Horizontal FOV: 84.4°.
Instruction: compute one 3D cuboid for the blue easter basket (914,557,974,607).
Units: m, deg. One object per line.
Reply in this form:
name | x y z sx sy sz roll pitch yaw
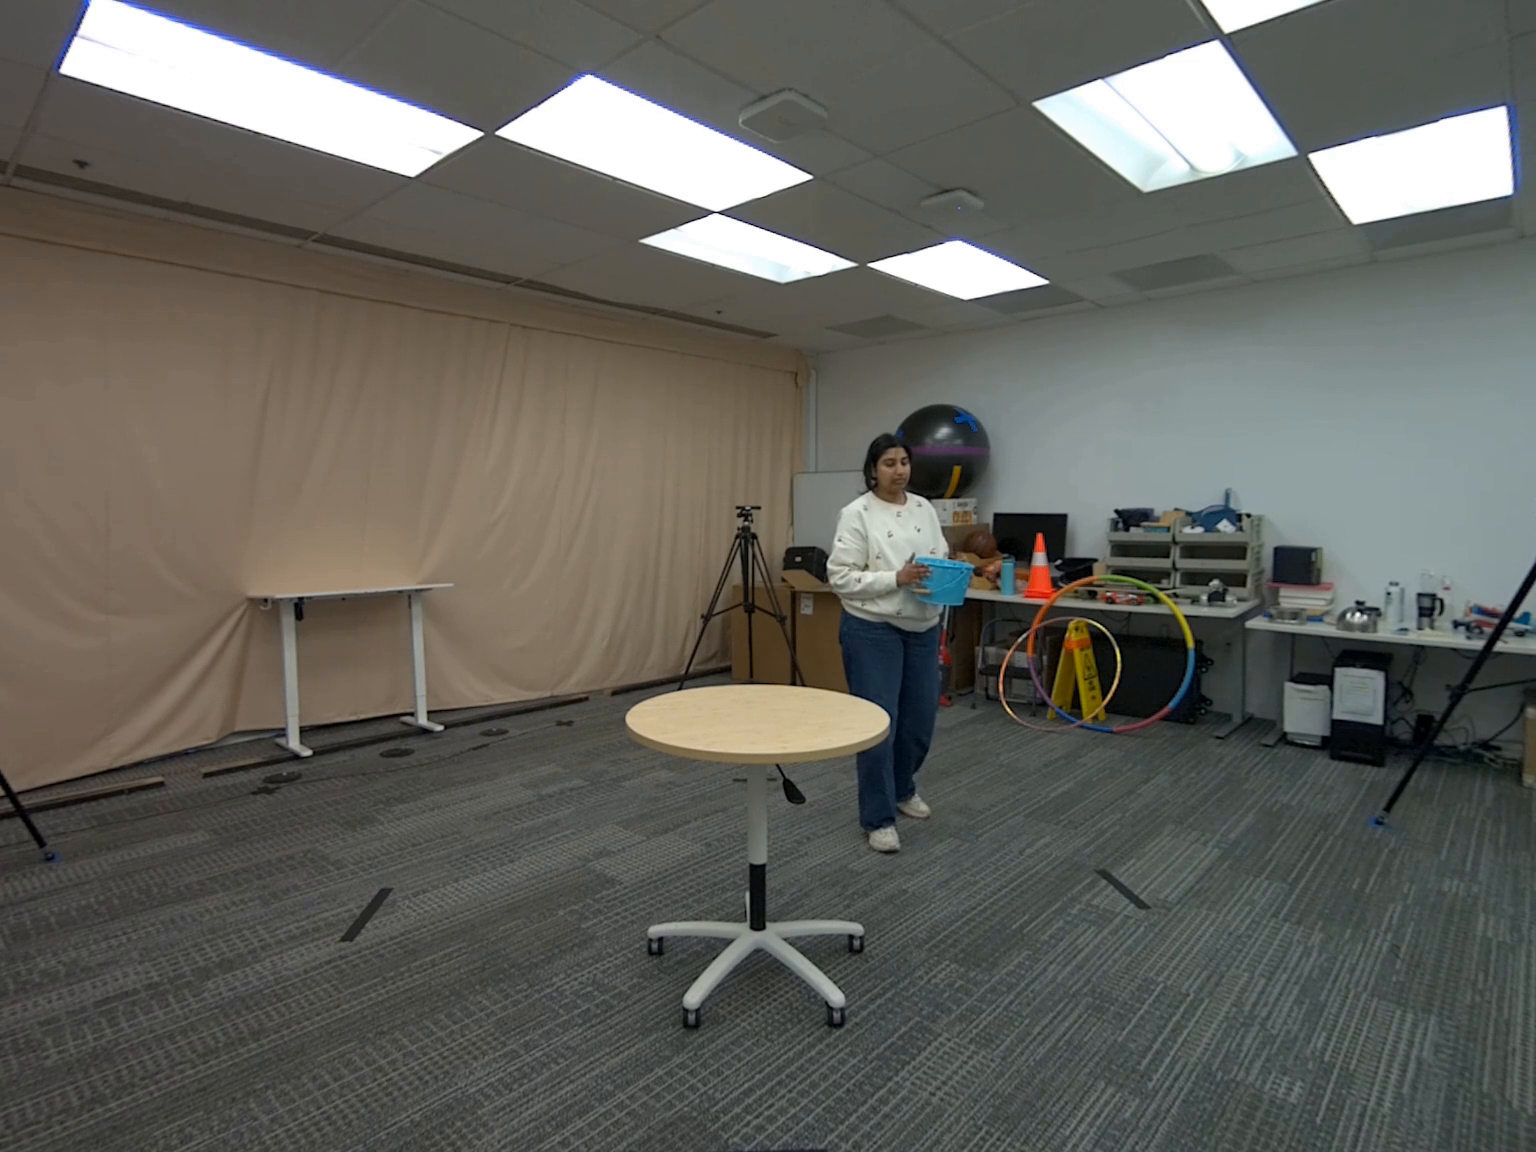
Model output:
blue easter basket | 0.664 0.030 3.295 0.243 0.155 0.244 6 5 -2
